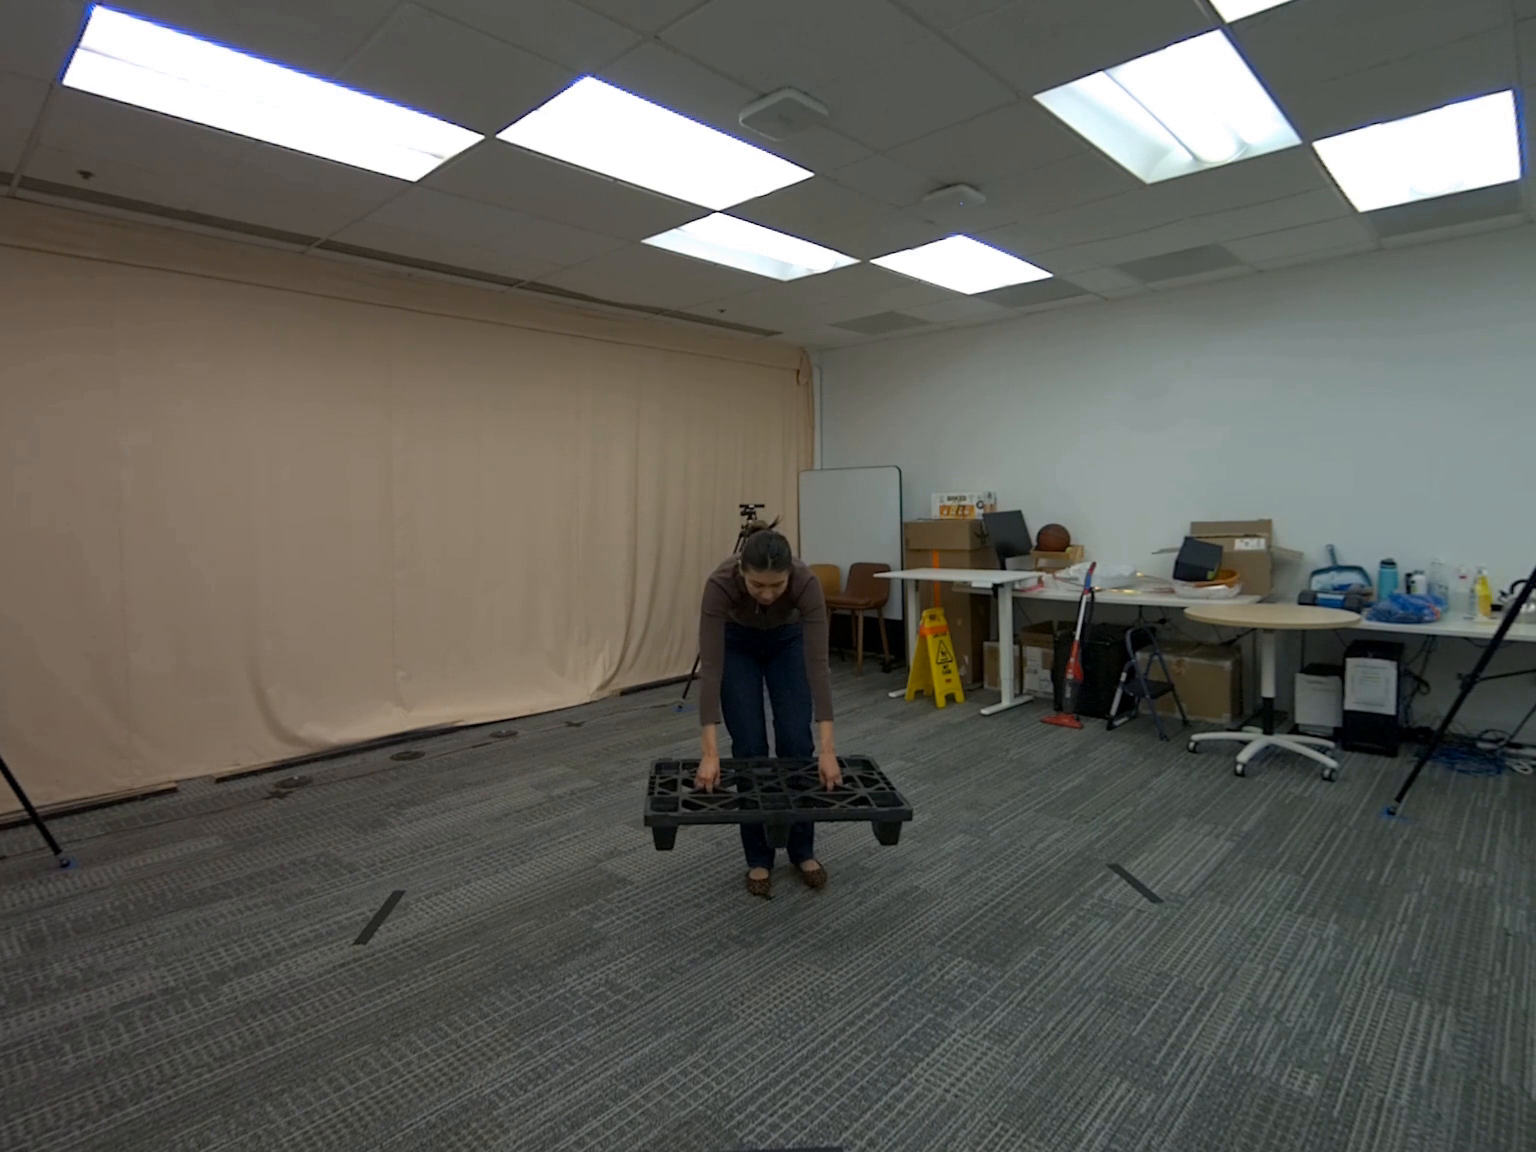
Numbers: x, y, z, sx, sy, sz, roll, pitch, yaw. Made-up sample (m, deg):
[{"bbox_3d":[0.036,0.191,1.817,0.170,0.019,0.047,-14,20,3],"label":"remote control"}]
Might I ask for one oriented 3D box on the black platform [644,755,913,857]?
[{"bbox_3d":[0.008,0.742,2.765,0.803,0.143,0.608,0,3,-3],"label":"black platform"}]
